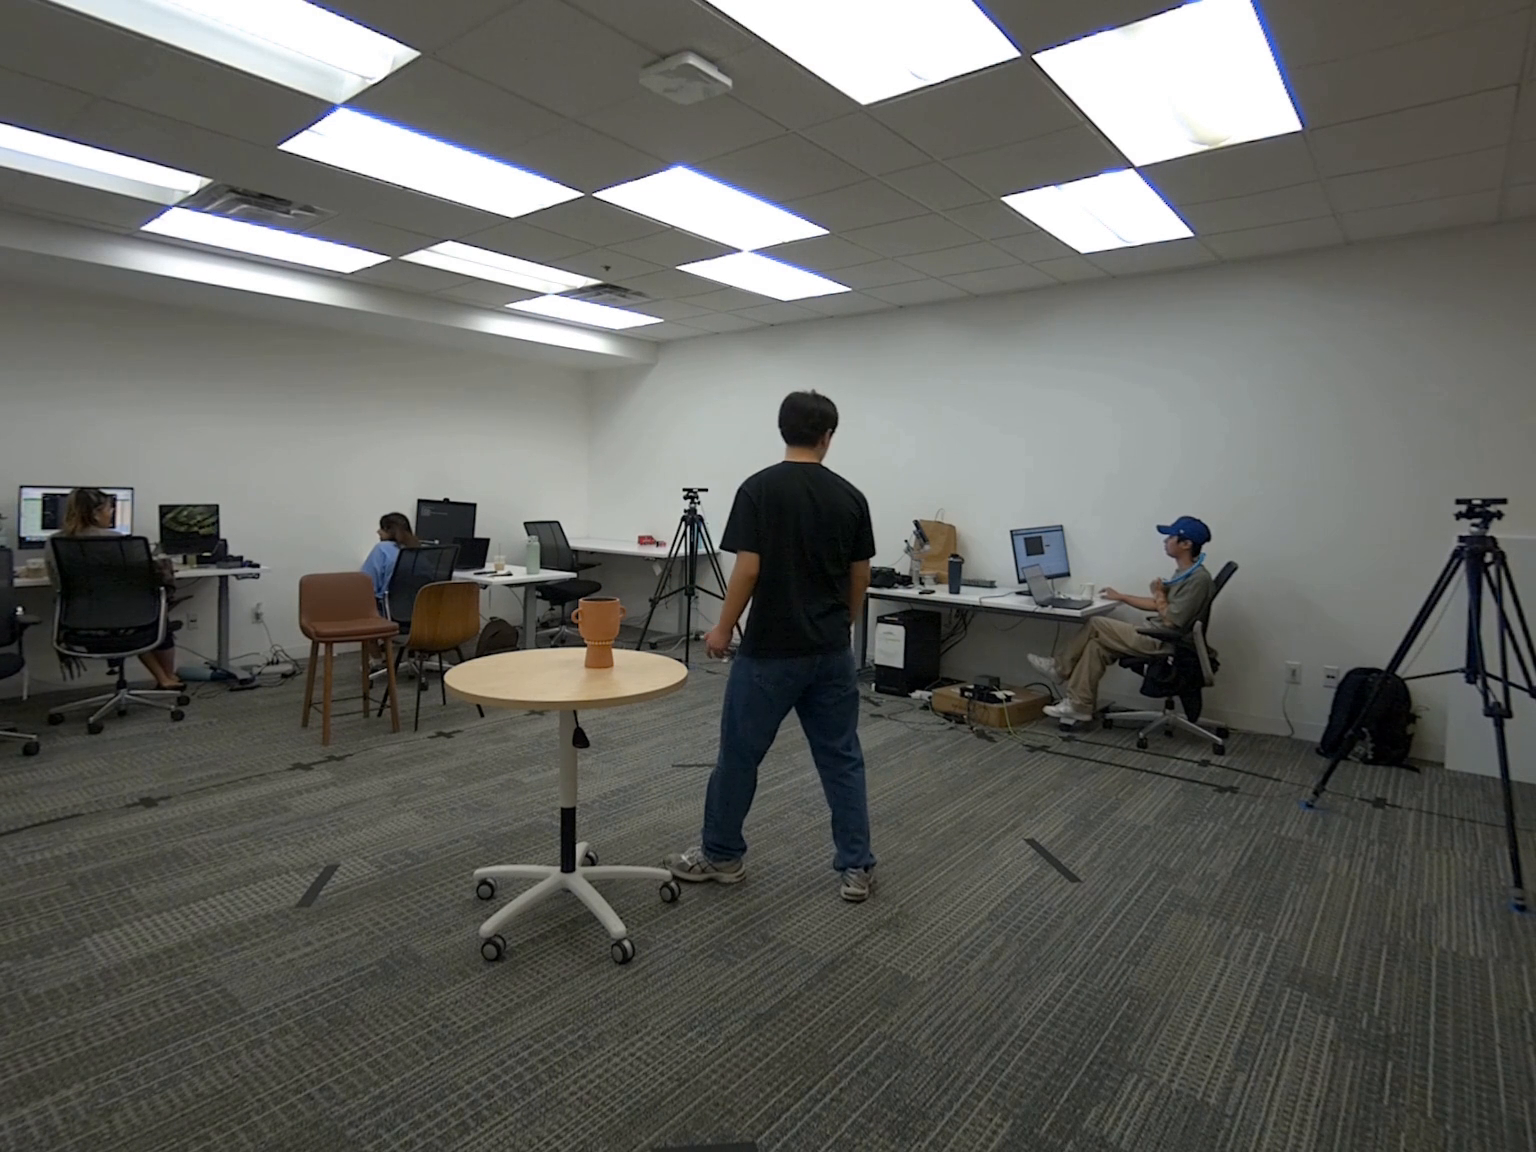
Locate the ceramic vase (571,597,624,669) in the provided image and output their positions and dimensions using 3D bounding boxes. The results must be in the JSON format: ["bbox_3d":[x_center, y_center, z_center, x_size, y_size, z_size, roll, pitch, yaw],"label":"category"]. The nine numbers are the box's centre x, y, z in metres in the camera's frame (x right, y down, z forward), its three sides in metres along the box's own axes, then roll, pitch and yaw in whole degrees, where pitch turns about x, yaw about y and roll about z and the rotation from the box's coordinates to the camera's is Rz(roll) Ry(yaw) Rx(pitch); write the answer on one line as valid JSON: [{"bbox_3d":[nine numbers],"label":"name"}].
[{"bbox_3d":[-0.574,0.188,2.814,0.160,0.219,0.135,1,6,4],"label":"ceramic vase"}]
